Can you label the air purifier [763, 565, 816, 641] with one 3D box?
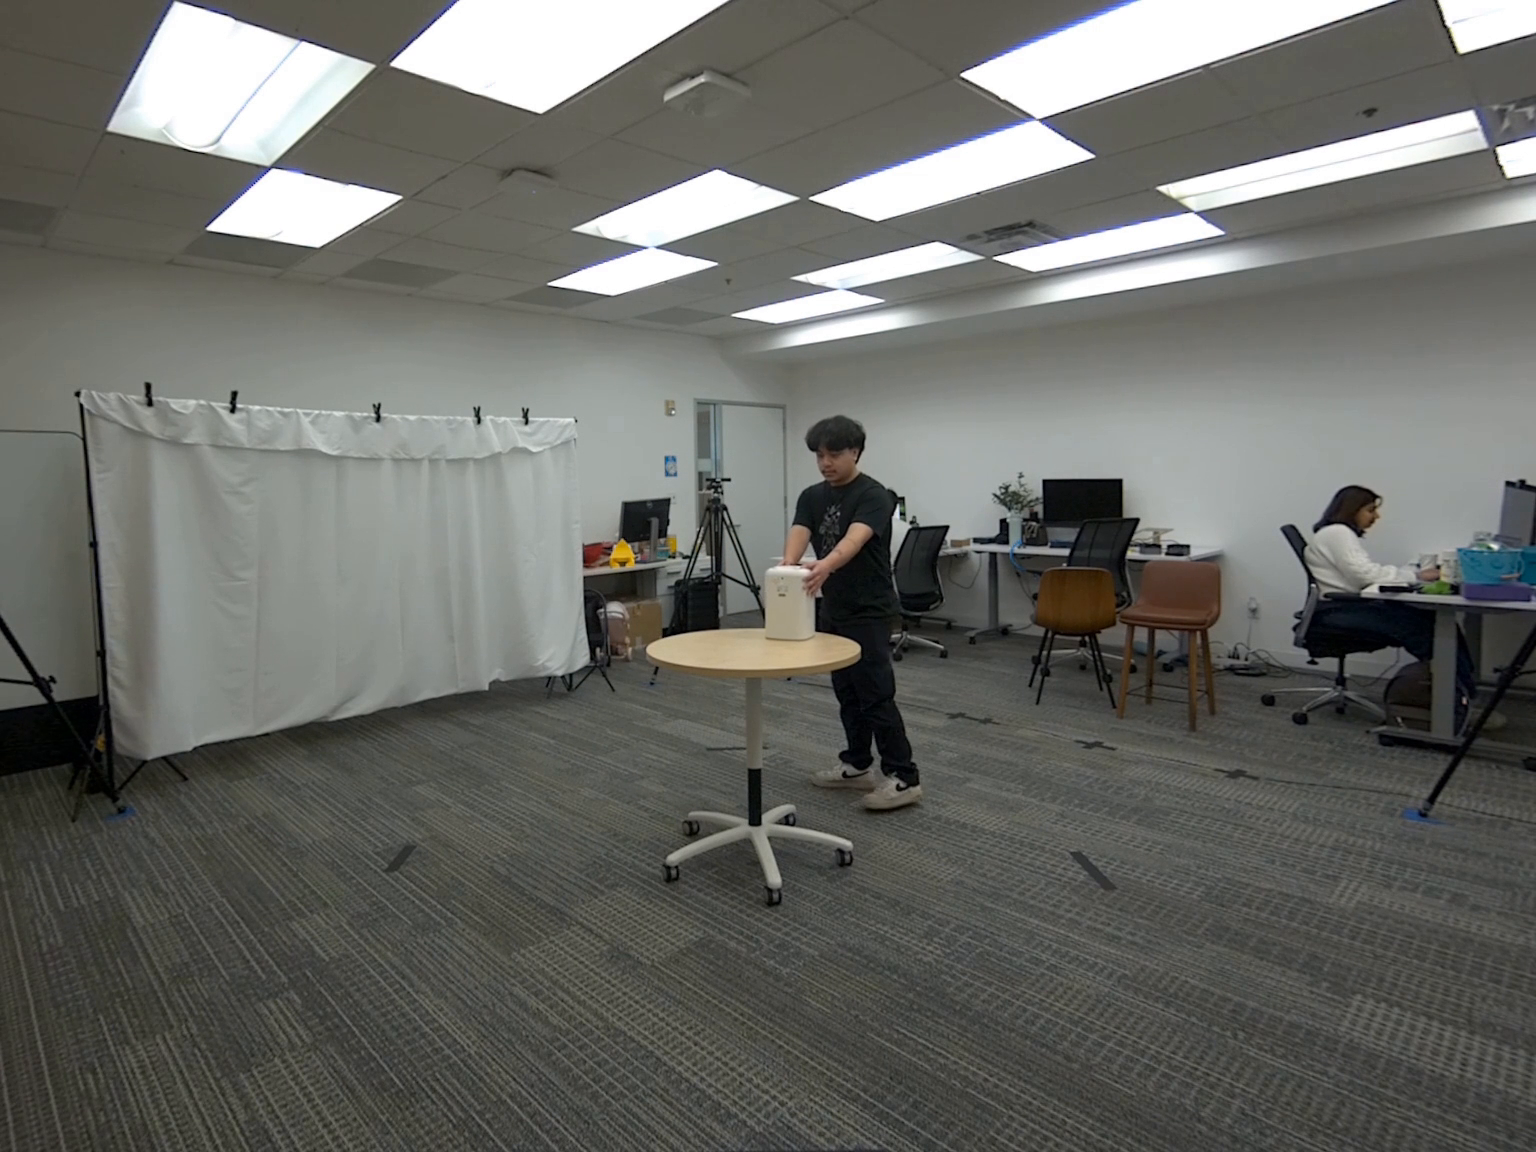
[{"bbox_3d":[0.085,0.099,3.252,0.175,0.265,0.168,1,3,23],"label":"air purifier"}]
